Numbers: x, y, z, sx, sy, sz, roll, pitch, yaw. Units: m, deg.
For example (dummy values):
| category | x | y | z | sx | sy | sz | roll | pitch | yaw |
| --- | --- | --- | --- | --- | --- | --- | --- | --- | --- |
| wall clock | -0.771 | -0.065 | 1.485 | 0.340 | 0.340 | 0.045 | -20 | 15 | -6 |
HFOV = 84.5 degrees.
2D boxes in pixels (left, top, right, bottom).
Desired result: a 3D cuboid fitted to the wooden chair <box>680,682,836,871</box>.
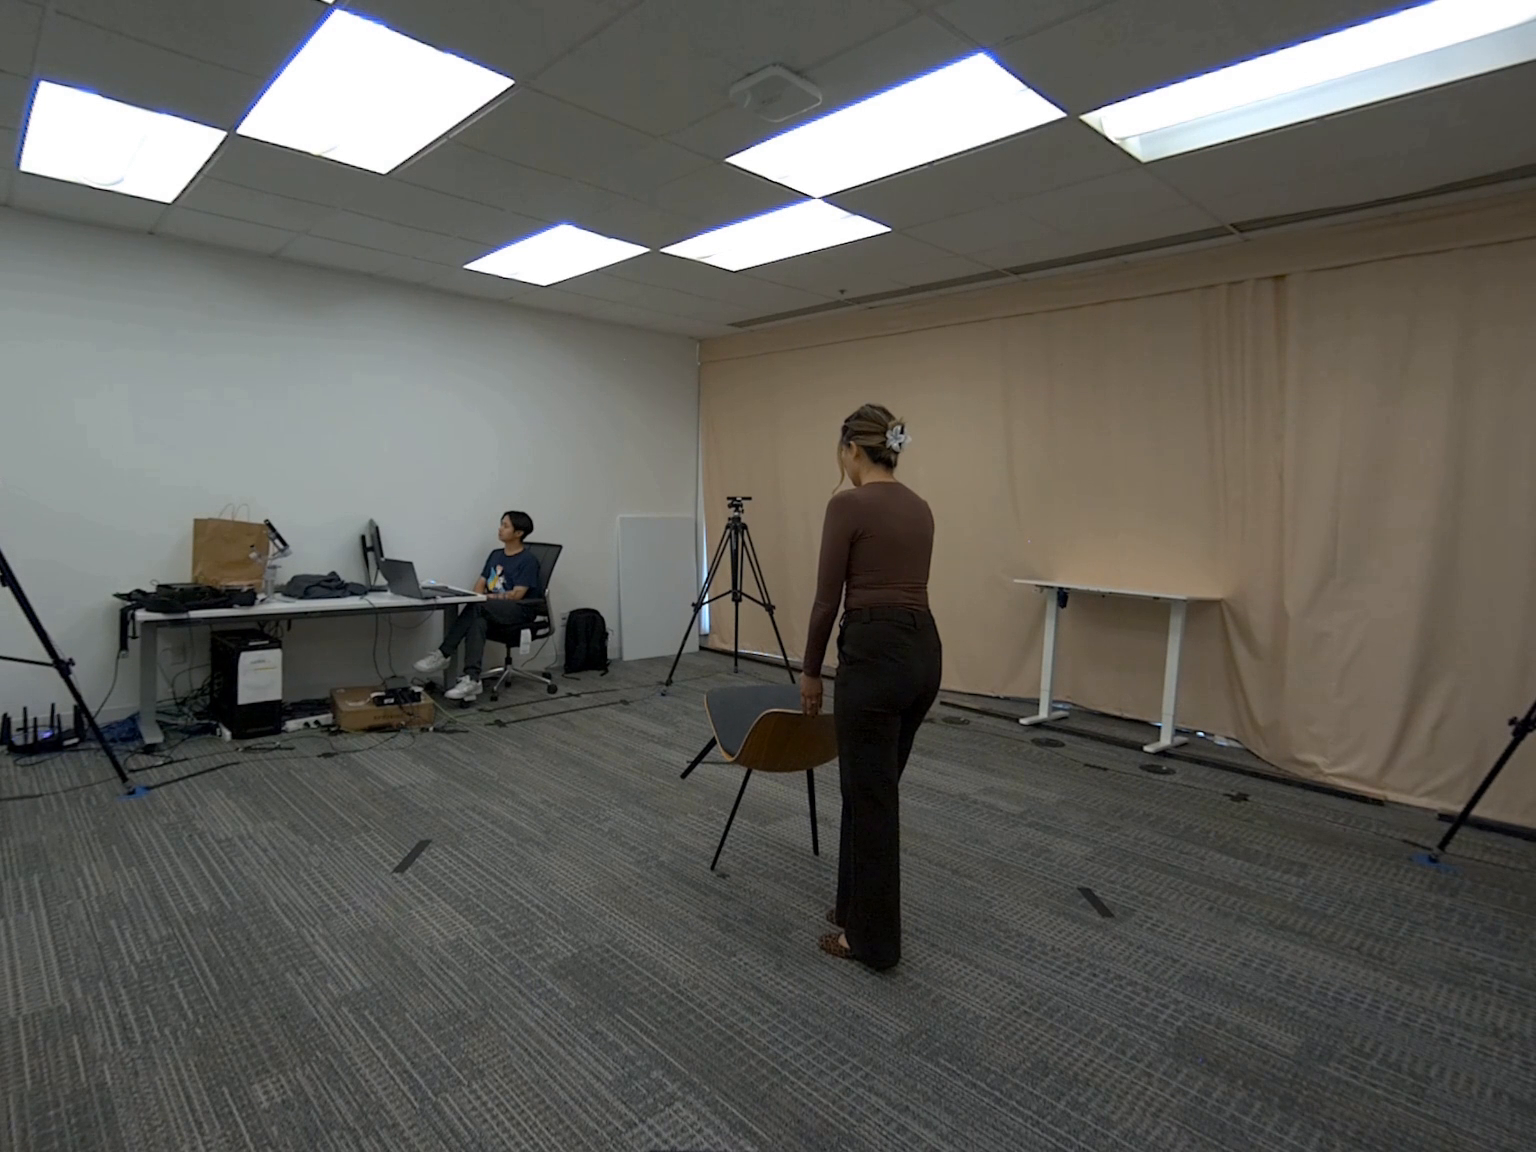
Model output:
| category | x | y | z | sx | sy | sz | roll | pitch | yaw |
| --- | --- | --- | --- | --- | --- | --- | --- | --- | --- |
| wooden chair | 0.006 | 0.615 | 3.177 | 0.470 | 0.865 | 0.539 | 0 | 39 | -23 |
